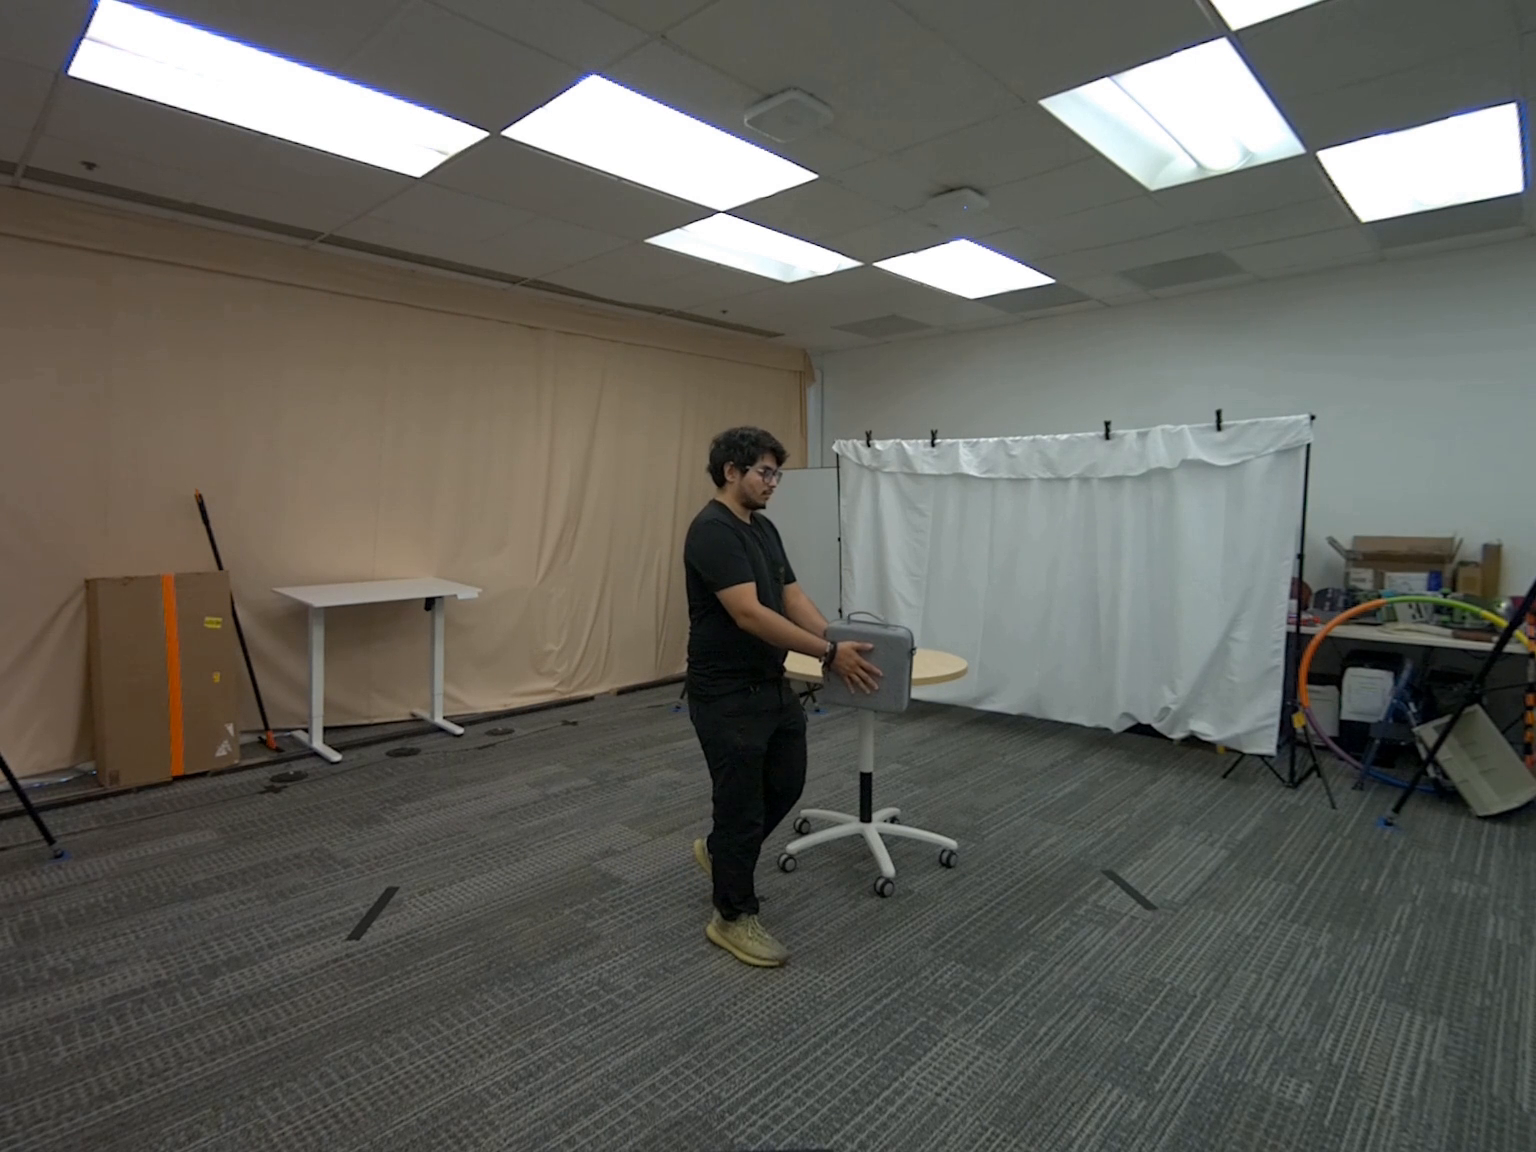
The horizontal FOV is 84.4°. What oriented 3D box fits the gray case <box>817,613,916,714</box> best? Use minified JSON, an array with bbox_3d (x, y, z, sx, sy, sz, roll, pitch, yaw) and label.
[{"bbox_3d":[0.305,0.267,2.478,0.262,0.259,0.102,4,10,20],"label":"gray case"}]
